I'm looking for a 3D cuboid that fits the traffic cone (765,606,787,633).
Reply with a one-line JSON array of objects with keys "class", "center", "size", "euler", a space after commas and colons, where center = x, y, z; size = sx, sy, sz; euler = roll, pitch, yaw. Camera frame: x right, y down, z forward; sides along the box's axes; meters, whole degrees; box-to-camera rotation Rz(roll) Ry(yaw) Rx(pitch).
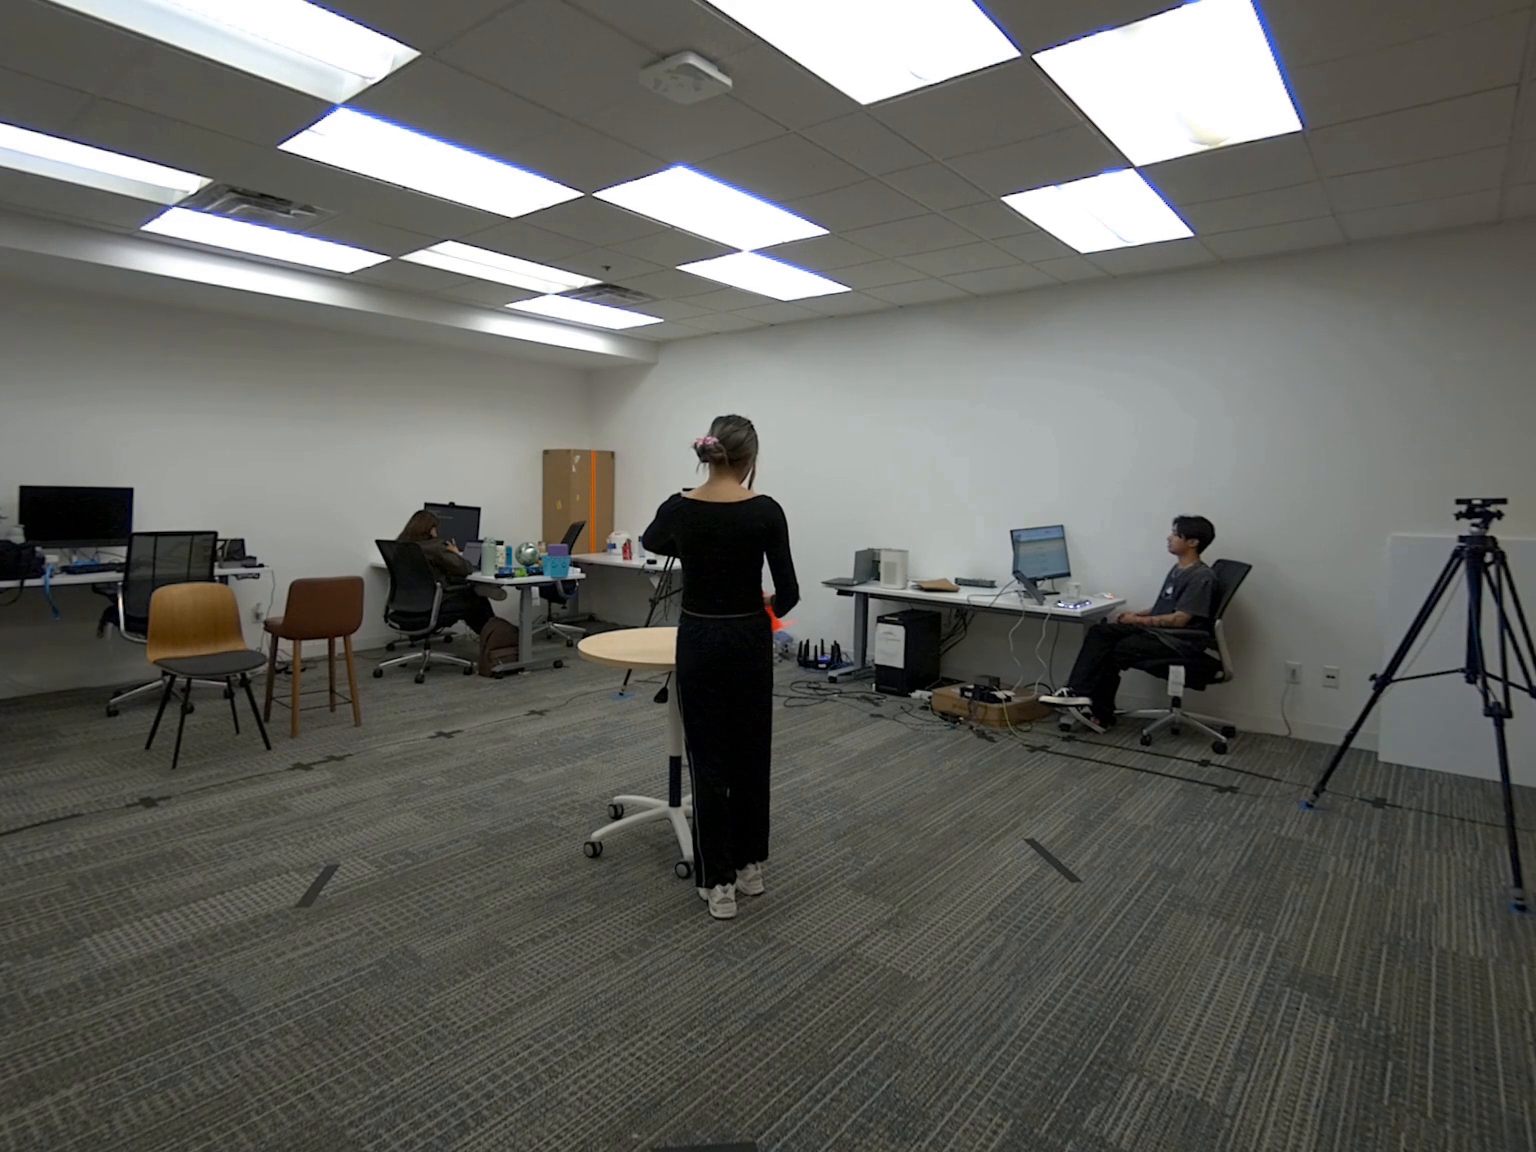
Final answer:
[{"class": "traffic cone", "center": [-0.101, 0.037, 3.109], "size": [0.207, 0.385, 0.201], "euler": [-25, -4, 43]}]
